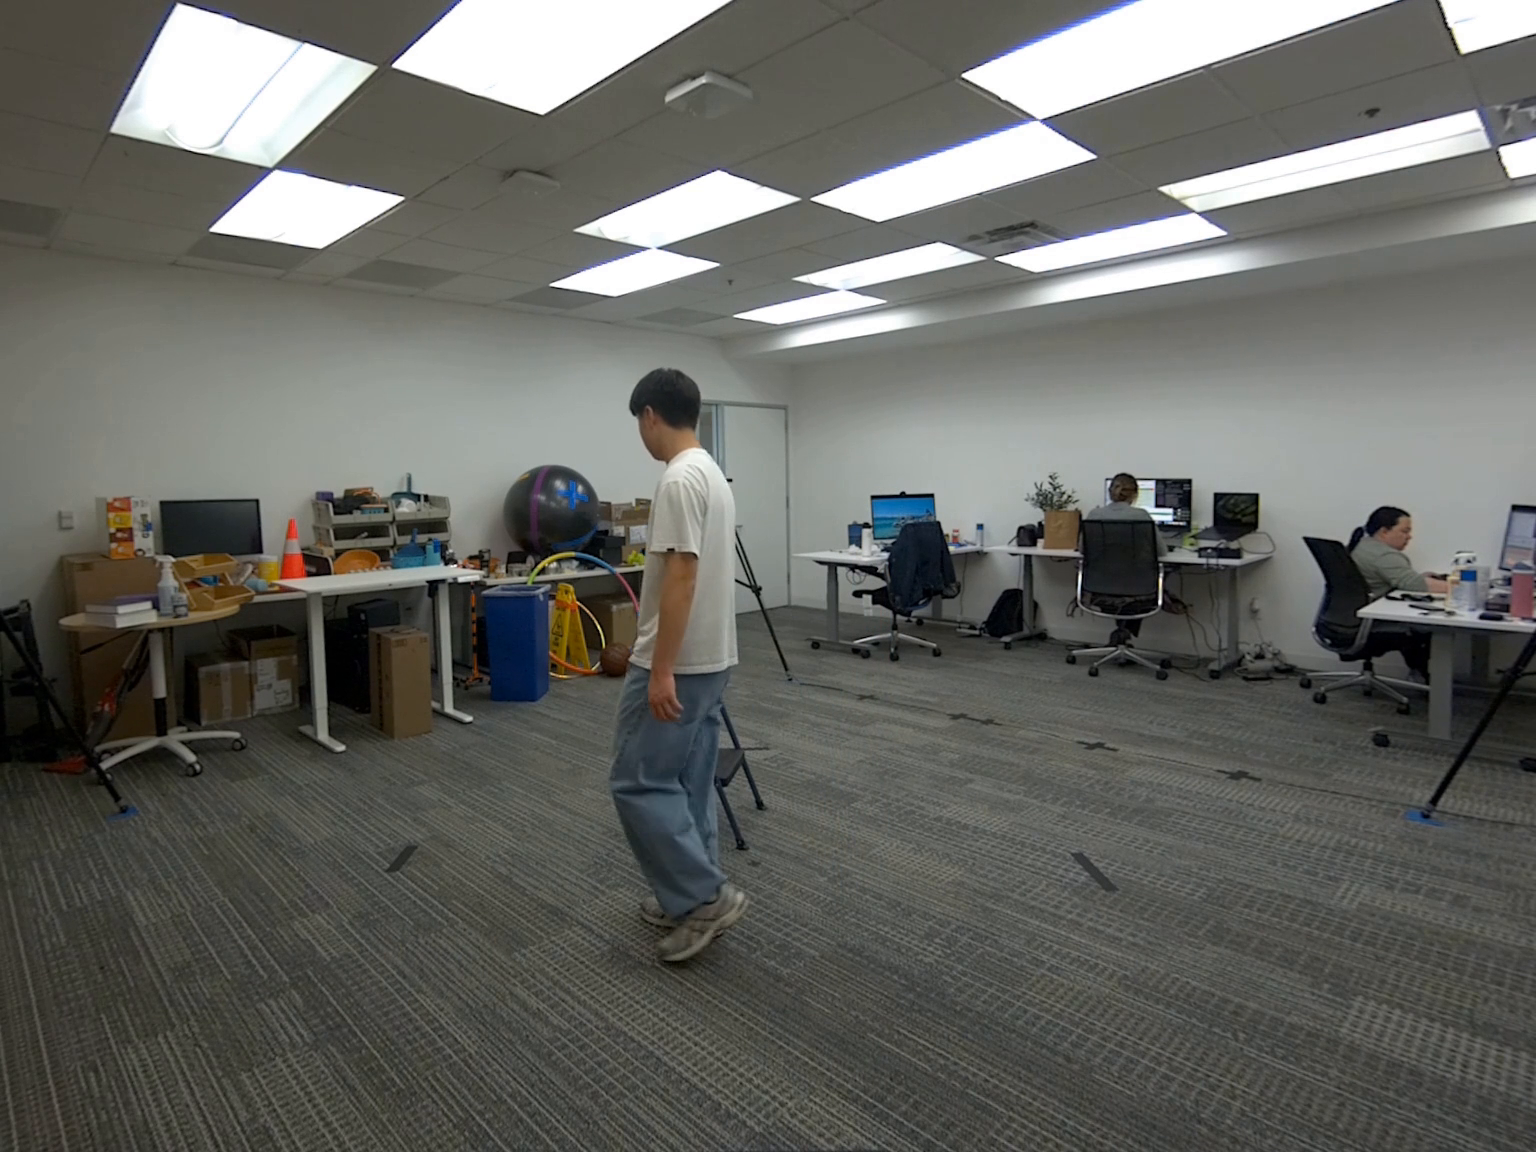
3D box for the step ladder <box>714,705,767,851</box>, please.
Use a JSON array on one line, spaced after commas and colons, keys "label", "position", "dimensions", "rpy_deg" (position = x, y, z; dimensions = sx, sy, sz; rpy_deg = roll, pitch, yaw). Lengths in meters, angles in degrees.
[{"label": "step ladder", "position": [-0.217, 0.709, 3.446], "dimensions": [0.353, 0.604, 0.427], "rpy_deg": [0, 4, 11]}]
